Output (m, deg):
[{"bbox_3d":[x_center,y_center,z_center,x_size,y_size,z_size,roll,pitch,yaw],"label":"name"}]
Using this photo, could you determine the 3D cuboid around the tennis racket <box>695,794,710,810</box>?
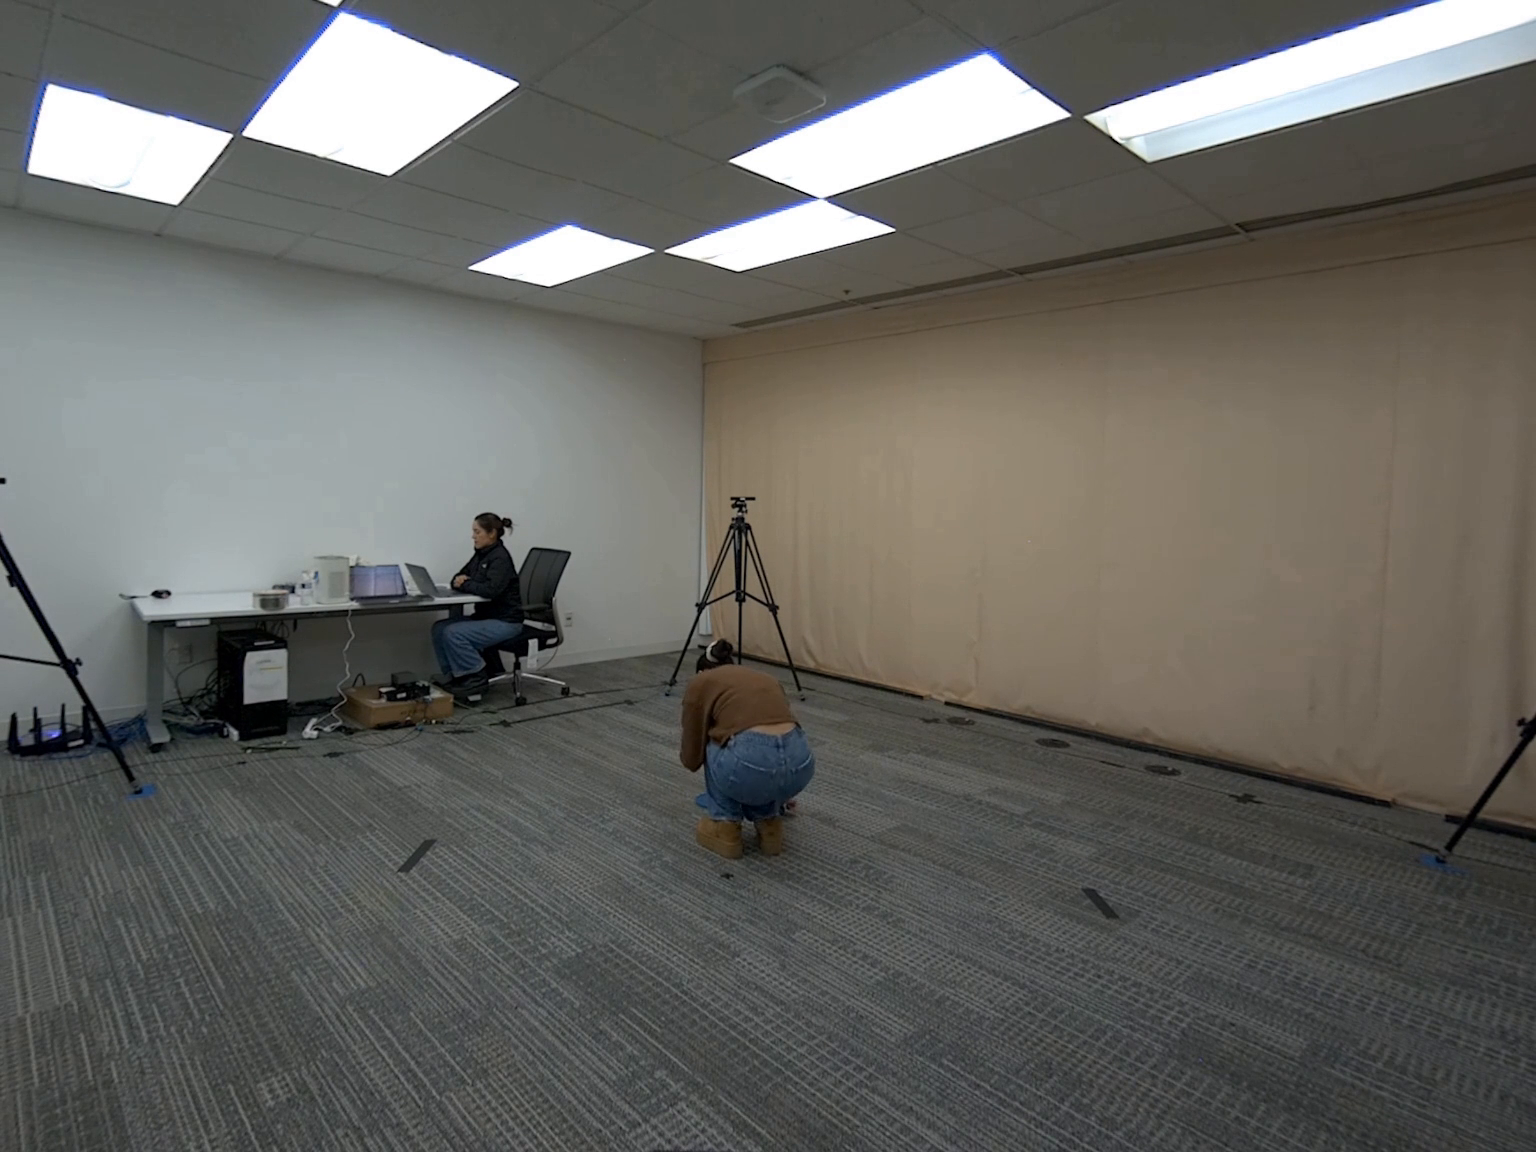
[{"bbox_3d":[-0.126,1.032,3.815,0.441,0.032,0.210,3,3,23],"label":"tennis racket"}]
